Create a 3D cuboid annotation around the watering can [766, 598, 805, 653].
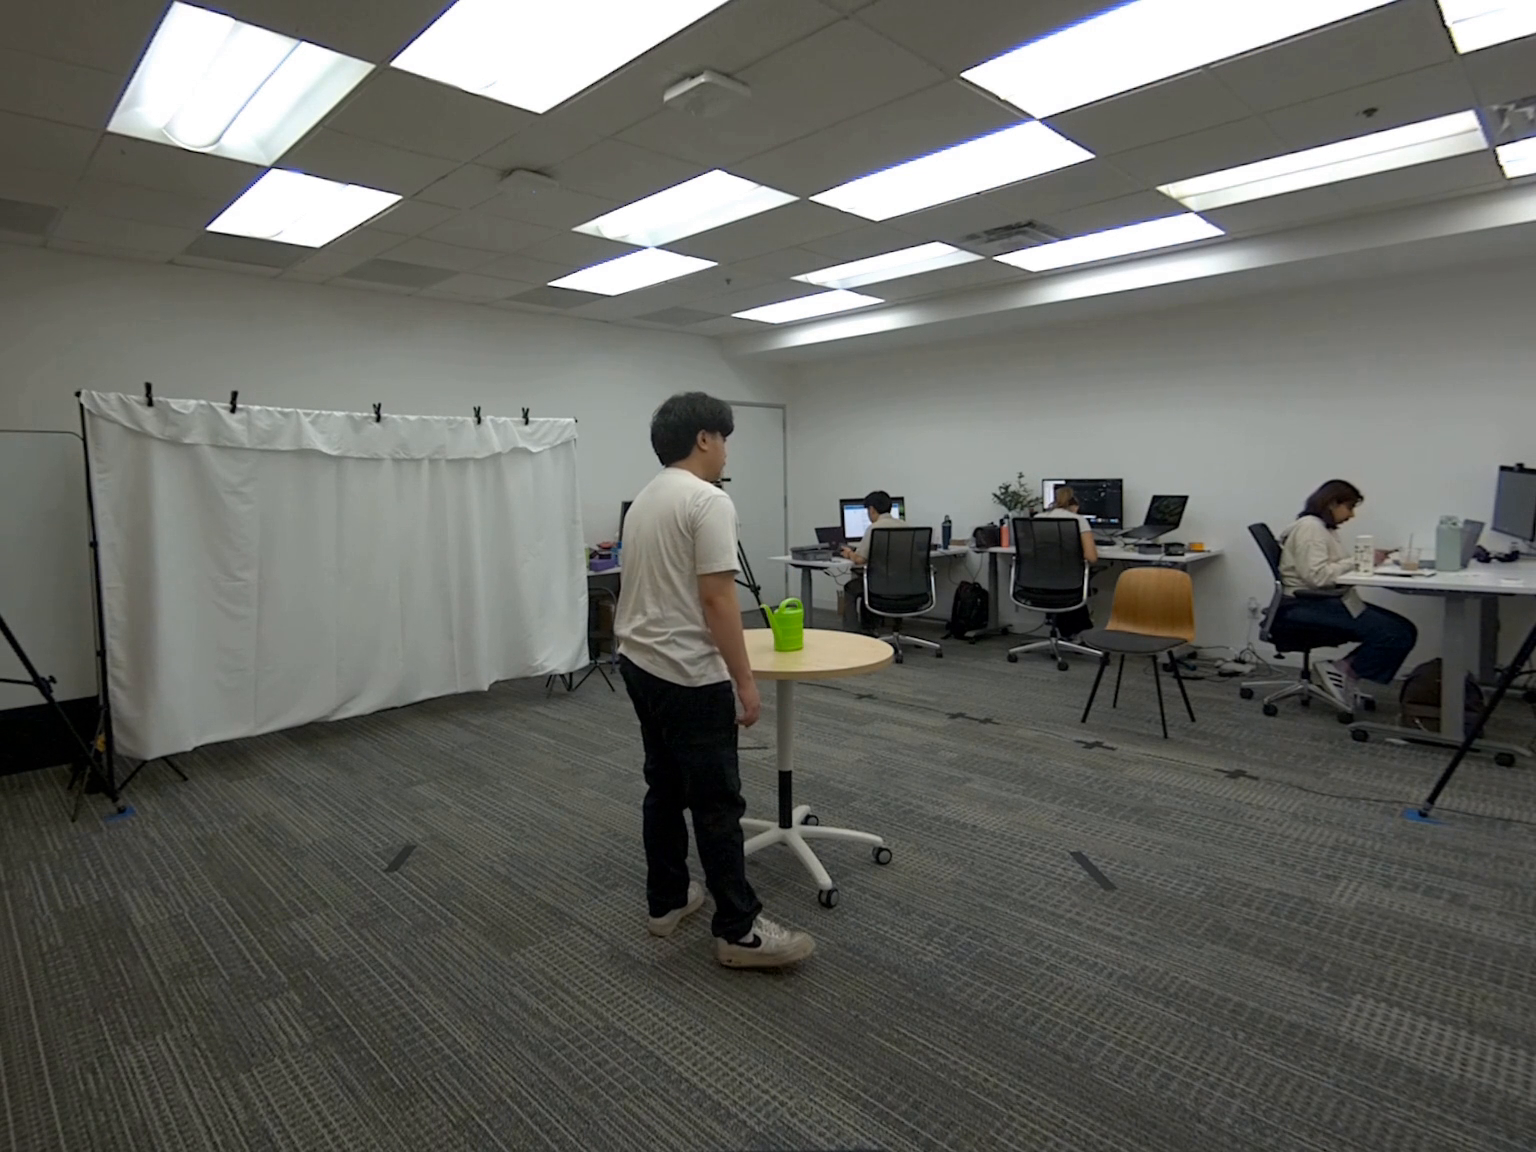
[{"bbox_3d":[0.050,0.170,2.994,0.101,0.176,0.271,2,5,42],"label":"watering can"}]
